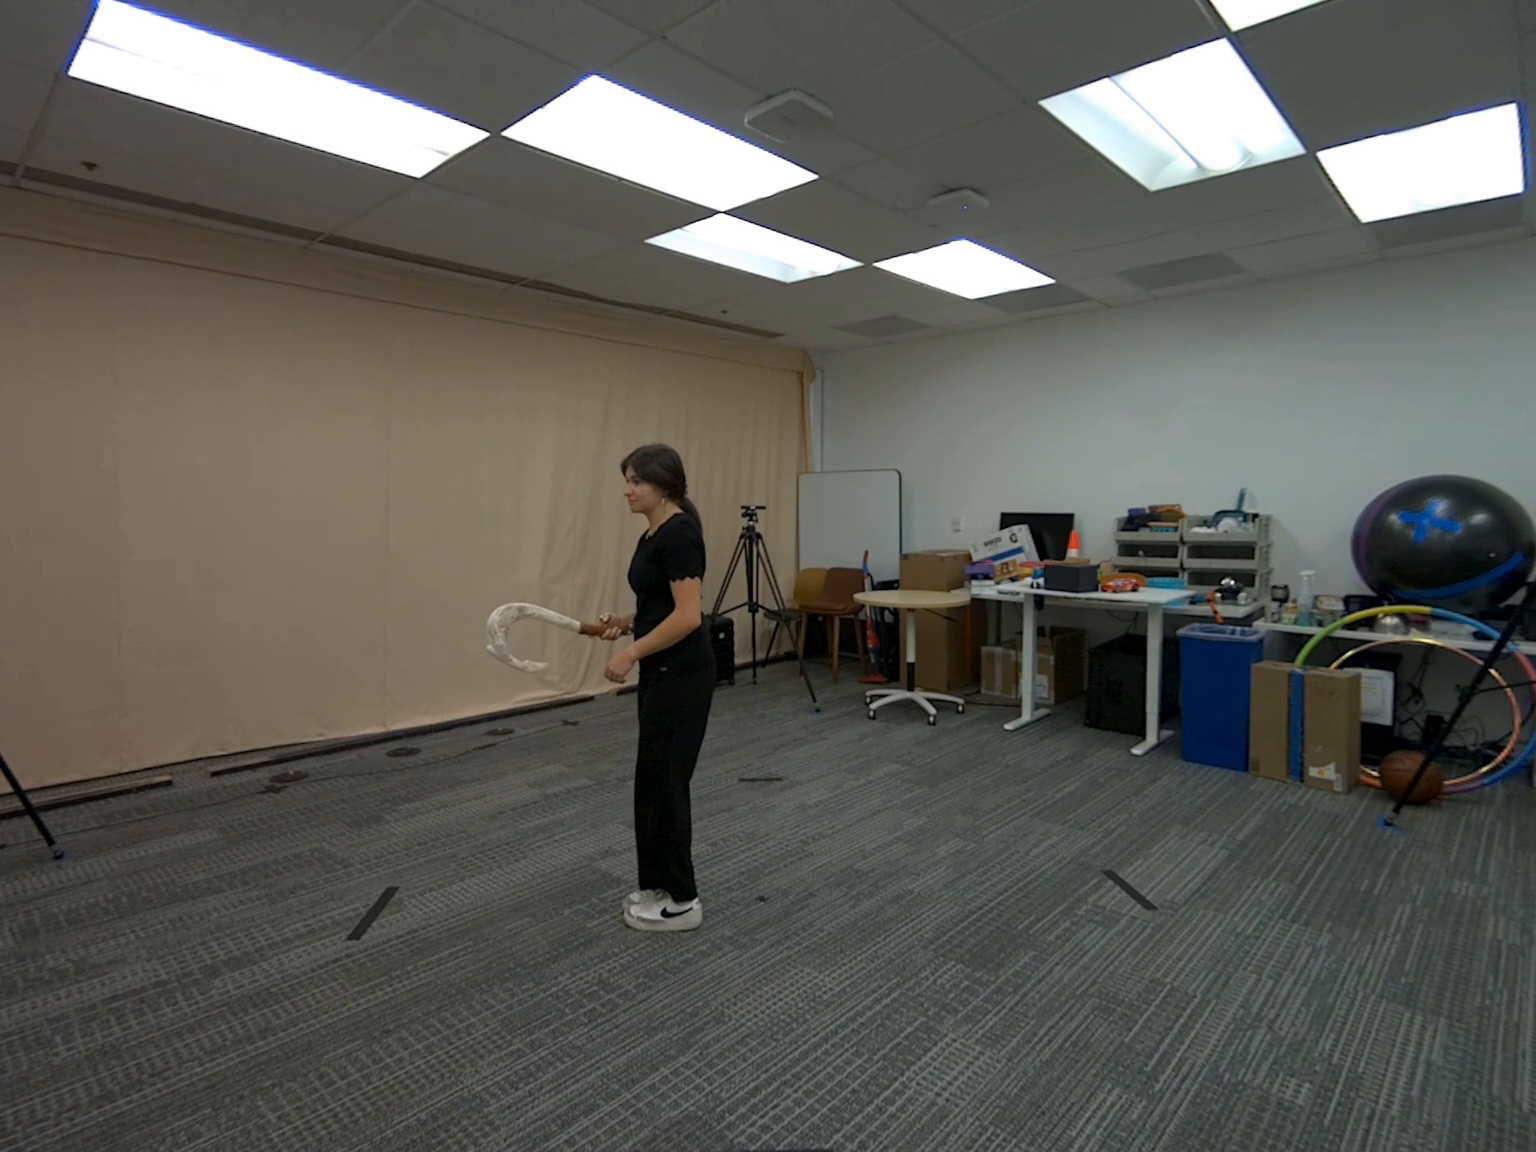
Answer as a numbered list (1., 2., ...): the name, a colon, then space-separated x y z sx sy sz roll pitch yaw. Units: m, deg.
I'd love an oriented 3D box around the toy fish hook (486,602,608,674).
1. toy fish hook: -0.660 0.215 2.709 0.492 0.227 0.049 6 -18 -31
